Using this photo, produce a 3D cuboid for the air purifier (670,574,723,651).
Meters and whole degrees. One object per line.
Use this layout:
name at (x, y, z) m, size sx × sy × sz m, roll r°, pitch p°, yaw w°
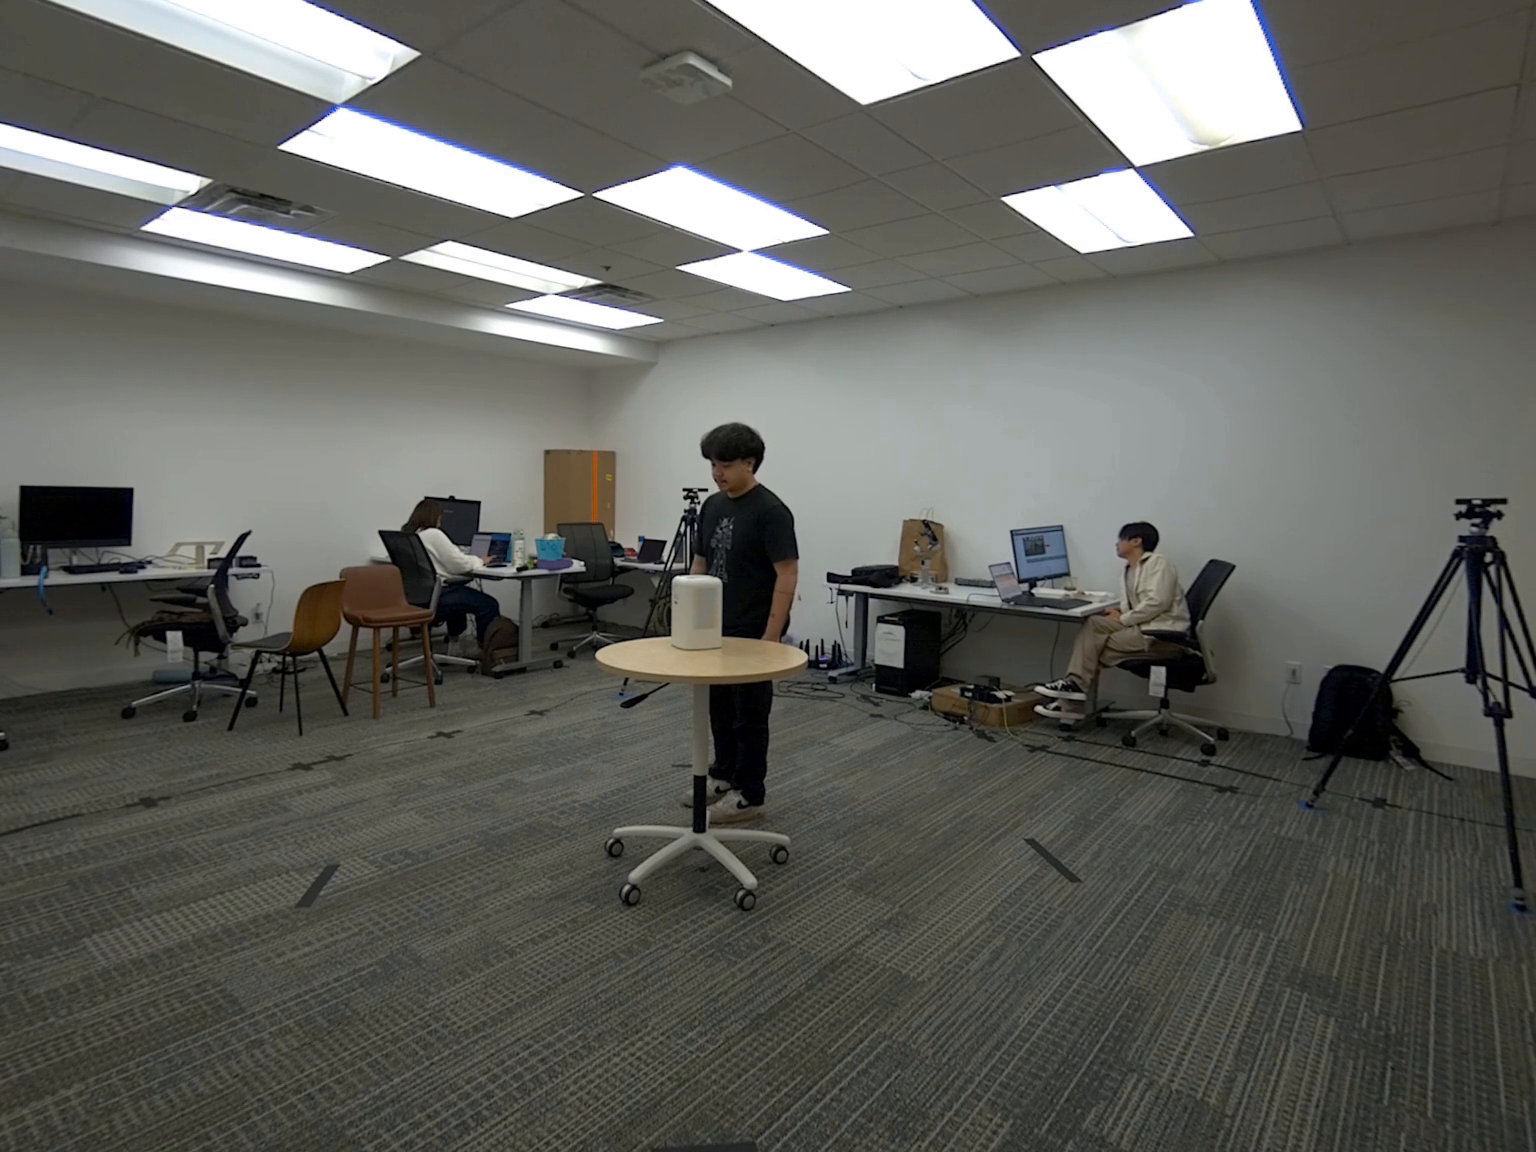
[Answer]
air purifier at (-0.285, 0.131, 3.231) m, size 0.167 × 0.265 × 0.176 m, roll -1°, pitch 4°, yaw -28°
